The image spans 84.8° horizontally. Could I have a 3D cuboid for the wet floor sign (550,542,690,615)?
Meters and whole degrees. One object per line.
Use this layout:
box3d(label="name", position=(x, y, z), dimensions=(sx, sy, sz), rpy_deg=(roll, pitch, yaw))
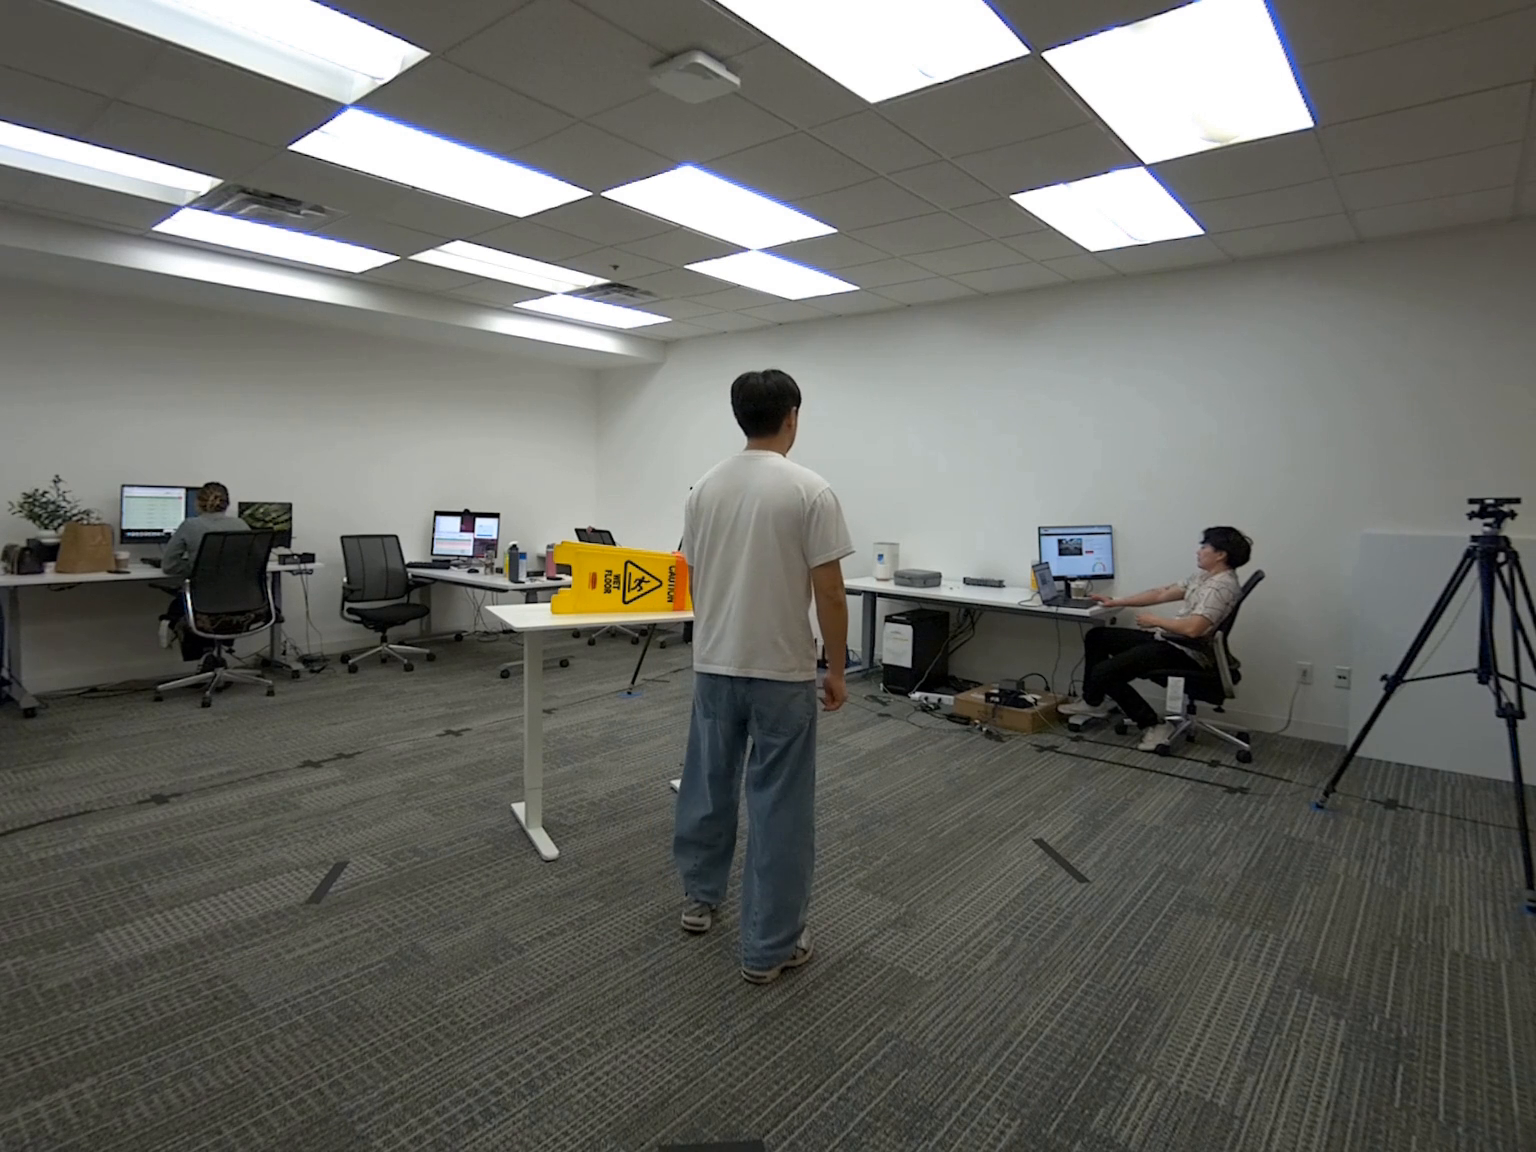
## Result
box3d(label="wet floor sign", position=(-0.561, 0.014, 3.502), dimensions=(0.643, 0.281, 0.292), rpy_deg=(3, 4, -4))
